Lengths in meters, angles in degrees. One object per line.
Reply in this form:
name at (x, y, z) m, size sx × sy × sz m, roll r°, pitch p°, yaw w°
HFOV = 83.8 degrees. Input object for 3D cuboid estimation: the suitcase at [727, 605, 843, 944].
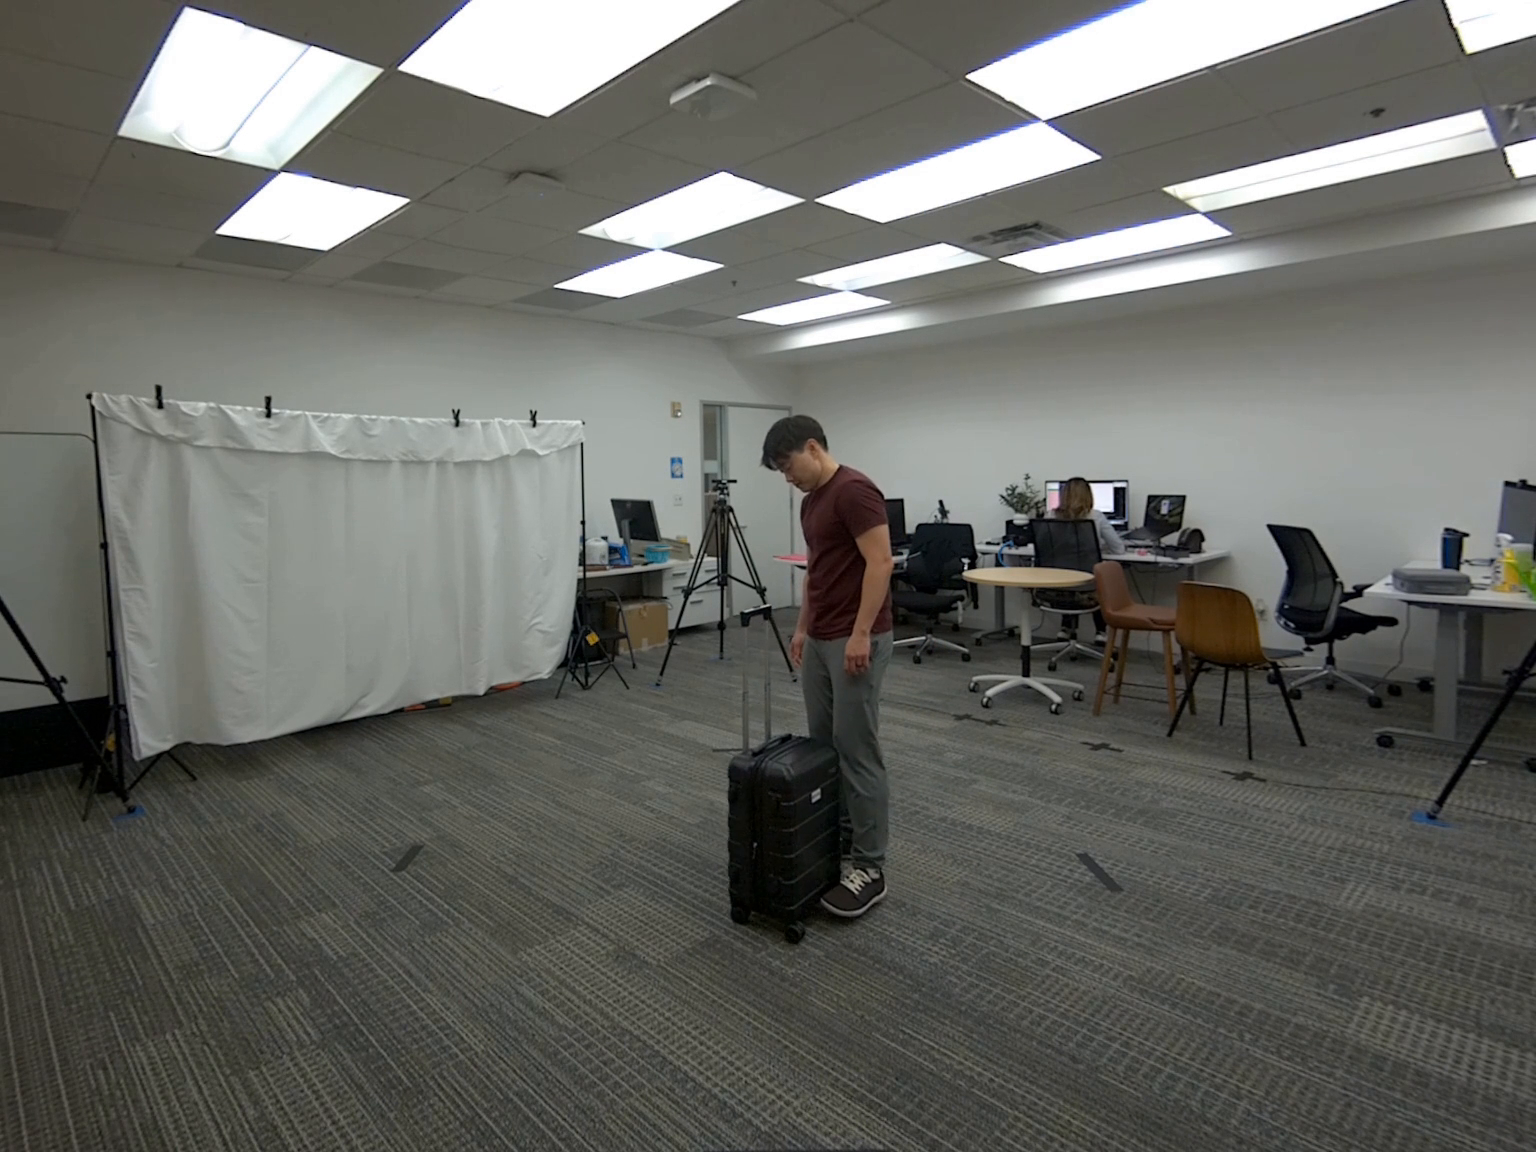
suitcase at (0.058, 0.607, 2.739) m, size 0.264 × 0.974 × 0.375 m, roll 3°, pitch 6°, yaw 34°
